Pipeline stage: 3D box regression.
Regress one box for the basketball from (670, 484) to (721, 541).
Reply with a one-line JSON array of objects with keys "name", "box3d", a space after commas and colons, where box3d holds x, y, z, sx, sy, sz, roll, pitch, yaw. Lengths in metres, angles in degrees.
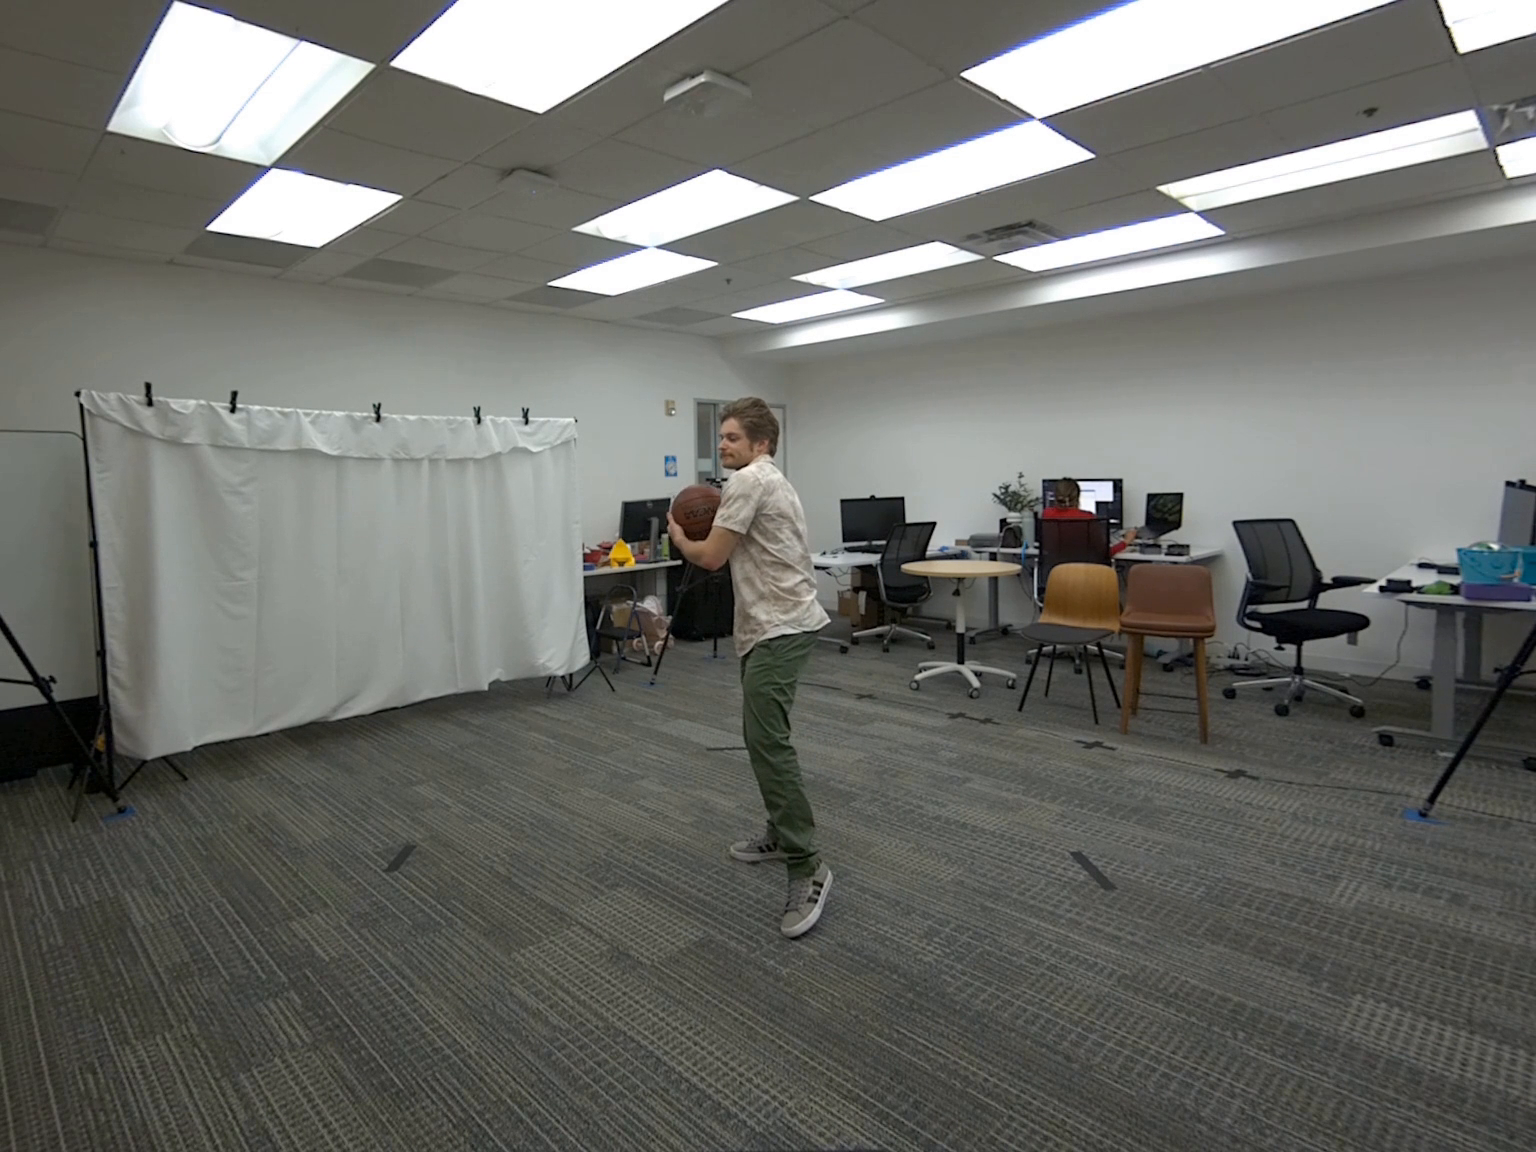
[{"name": "basketball", "box3d": [-0.256, -0.220, 3.266, 0.236, 0.235, 0.237, -1, 5, -2]}]
